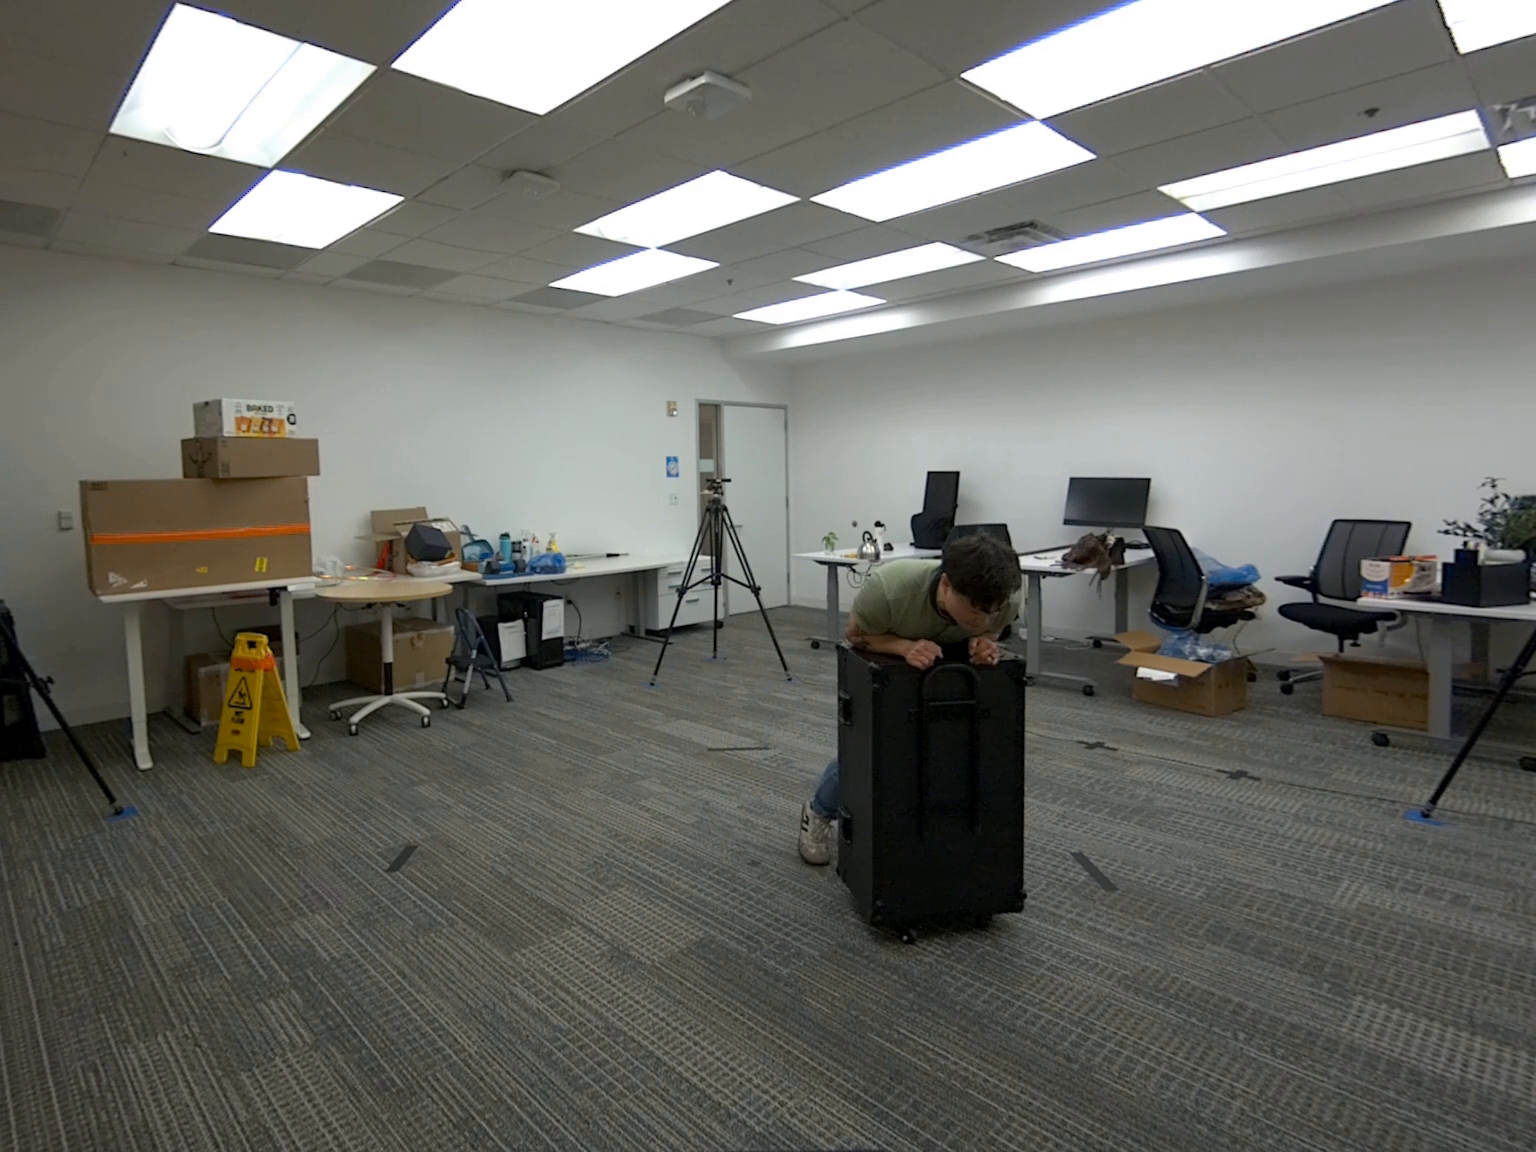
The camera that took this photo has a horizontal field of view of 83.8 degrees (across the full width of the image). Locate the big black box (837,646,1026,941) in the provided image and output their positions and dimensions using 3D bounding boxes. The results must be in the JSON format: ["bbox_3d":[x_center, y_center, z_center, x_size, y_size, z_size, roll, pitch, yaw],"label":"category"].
[{"bbox_3d":[0.517,0.666,2.682,0.516,0.857,0.402,-2,6,-10],"label":"big black box"}]
